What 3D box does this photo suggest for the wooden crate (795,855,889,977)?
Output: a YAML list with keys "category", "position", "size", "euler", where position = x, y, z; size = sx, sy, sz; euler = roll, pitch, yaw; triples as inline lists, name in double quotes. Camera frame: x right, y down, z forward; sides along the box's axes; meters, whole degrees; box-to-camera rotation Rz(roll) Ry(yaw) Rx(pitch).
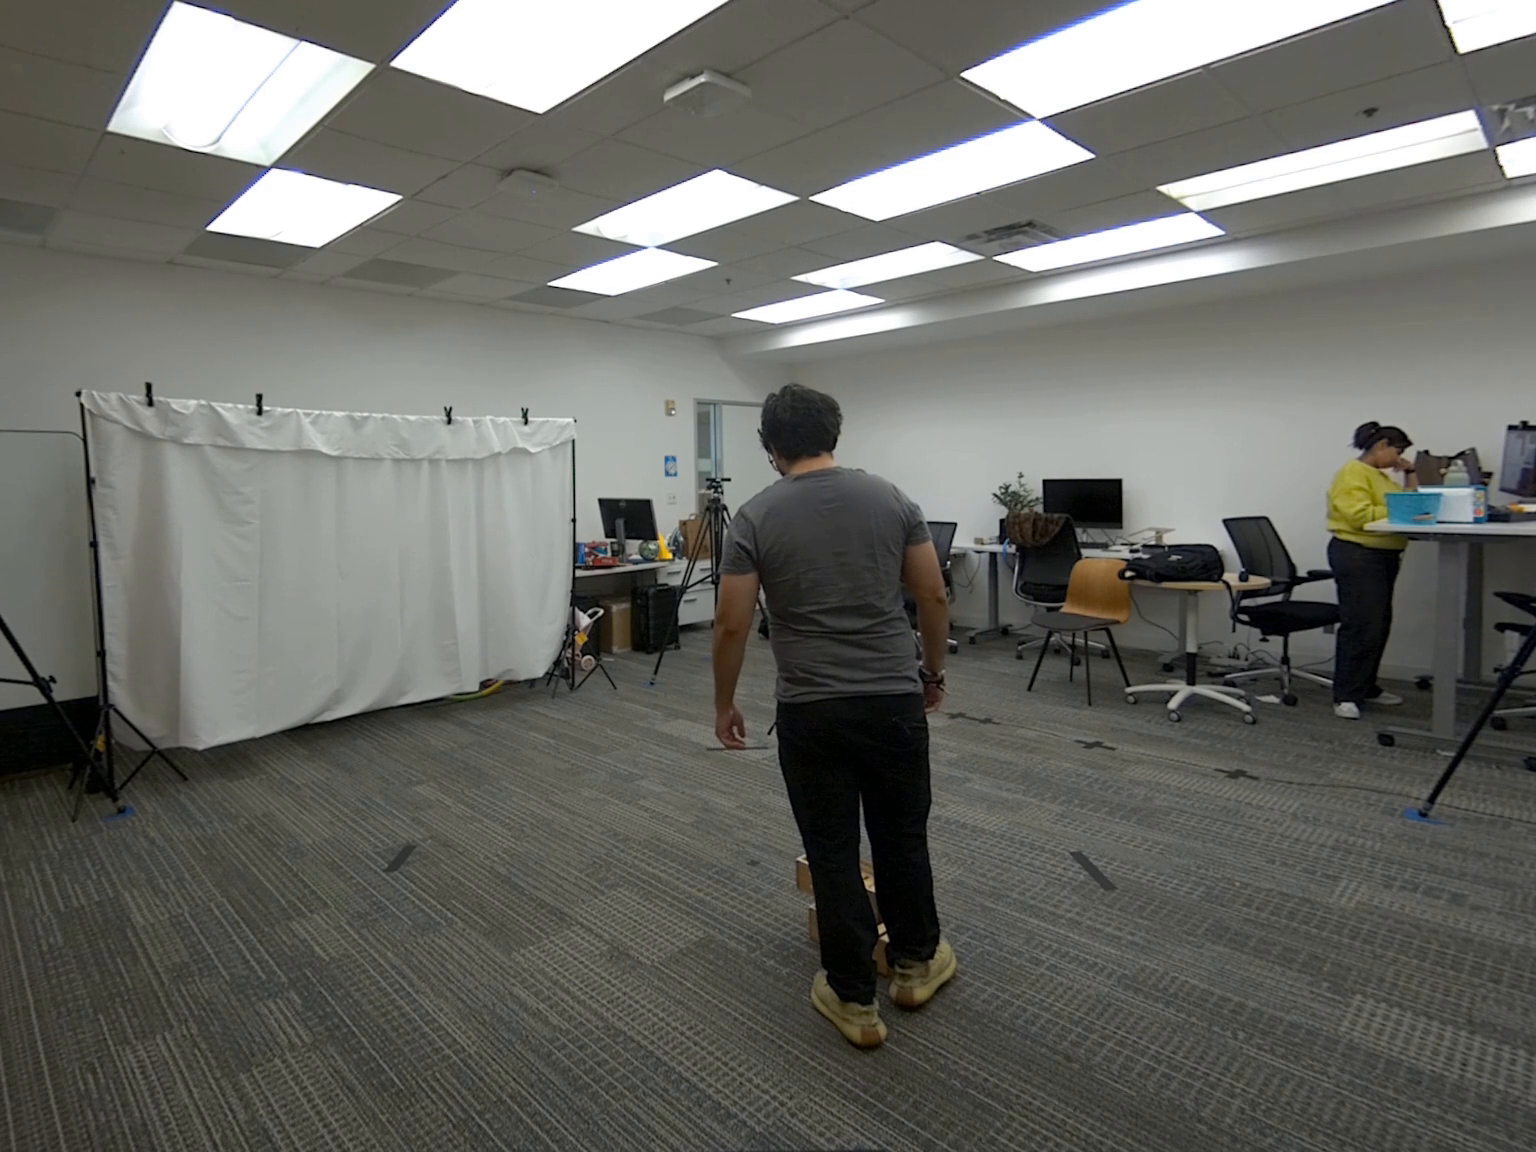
- category: "wooden crate"
  position: [0.311, 0.970, 2.550]
  size: [0.294, 0.272, 0.334]
  euler: [-7, 8, -44]
